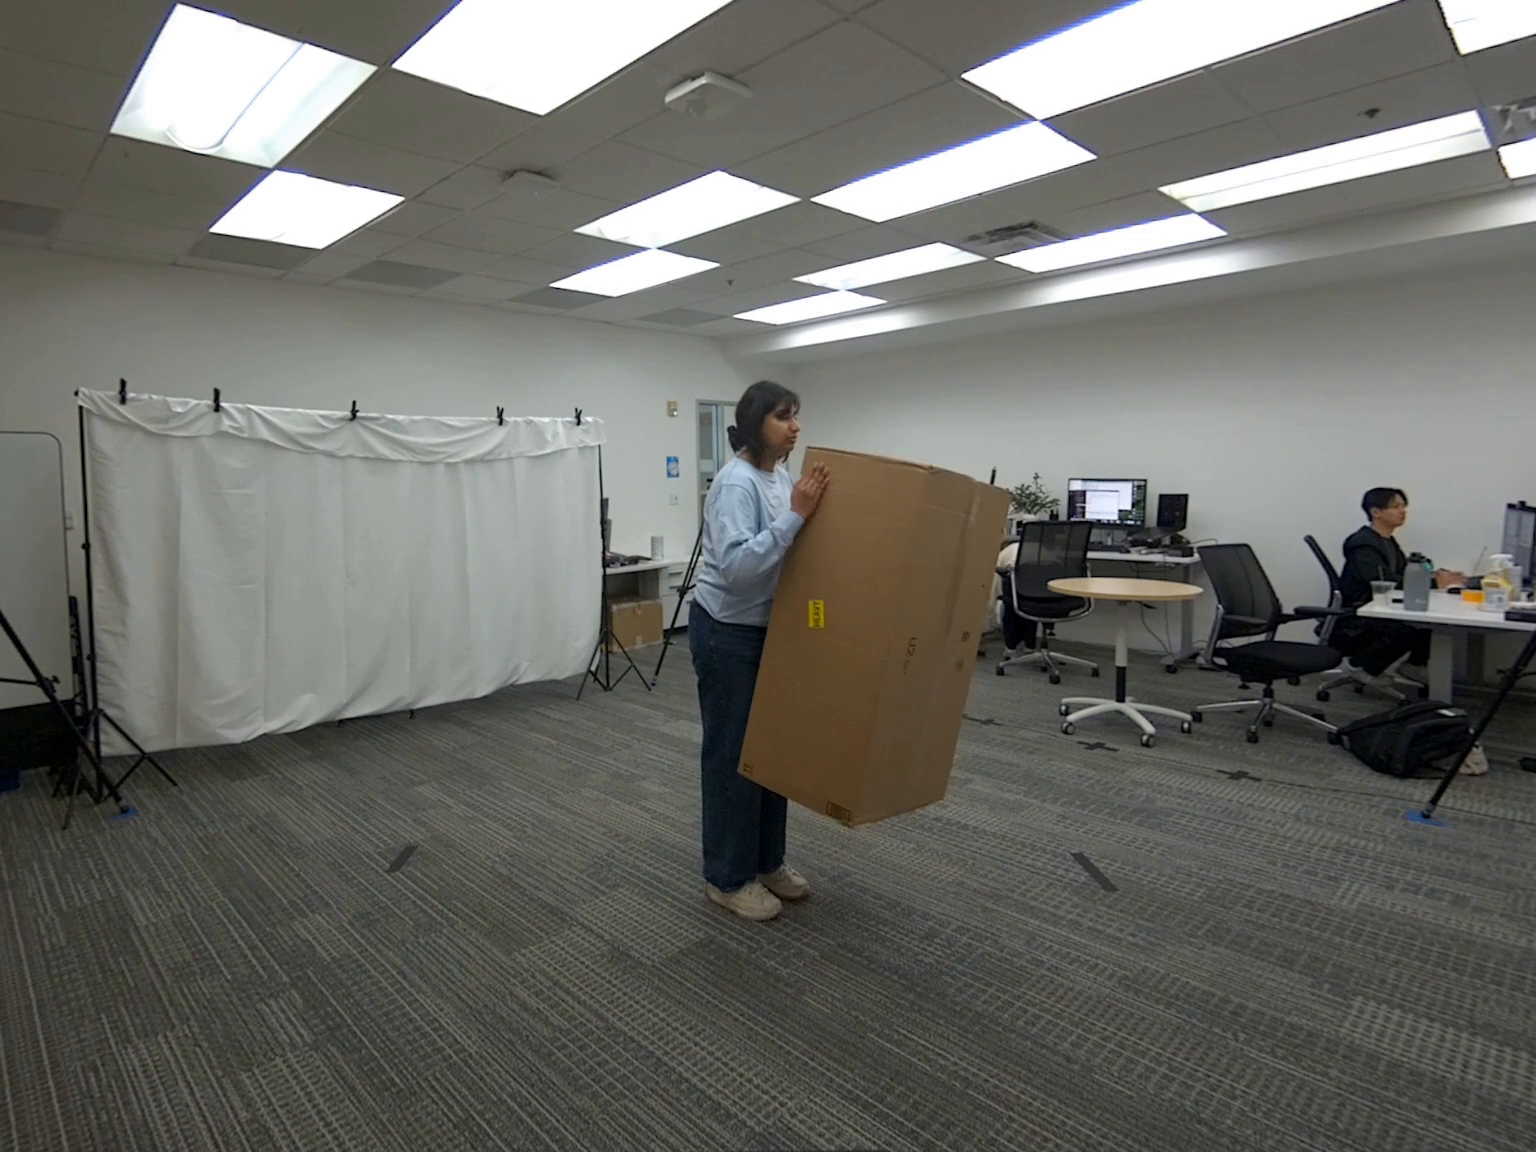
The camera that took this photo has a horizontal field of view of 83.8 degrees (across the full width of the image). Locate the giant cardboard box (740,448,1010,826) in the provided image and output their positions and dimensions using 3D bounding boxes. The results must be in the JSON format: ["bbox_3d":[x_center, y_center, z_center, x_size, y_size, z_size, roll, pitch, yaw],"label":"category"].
[{"bbox_3d":[0.349,0.174,2.652,0.462,1.024,0.565,14,5,40],"label":"giant cardboard box"}]
